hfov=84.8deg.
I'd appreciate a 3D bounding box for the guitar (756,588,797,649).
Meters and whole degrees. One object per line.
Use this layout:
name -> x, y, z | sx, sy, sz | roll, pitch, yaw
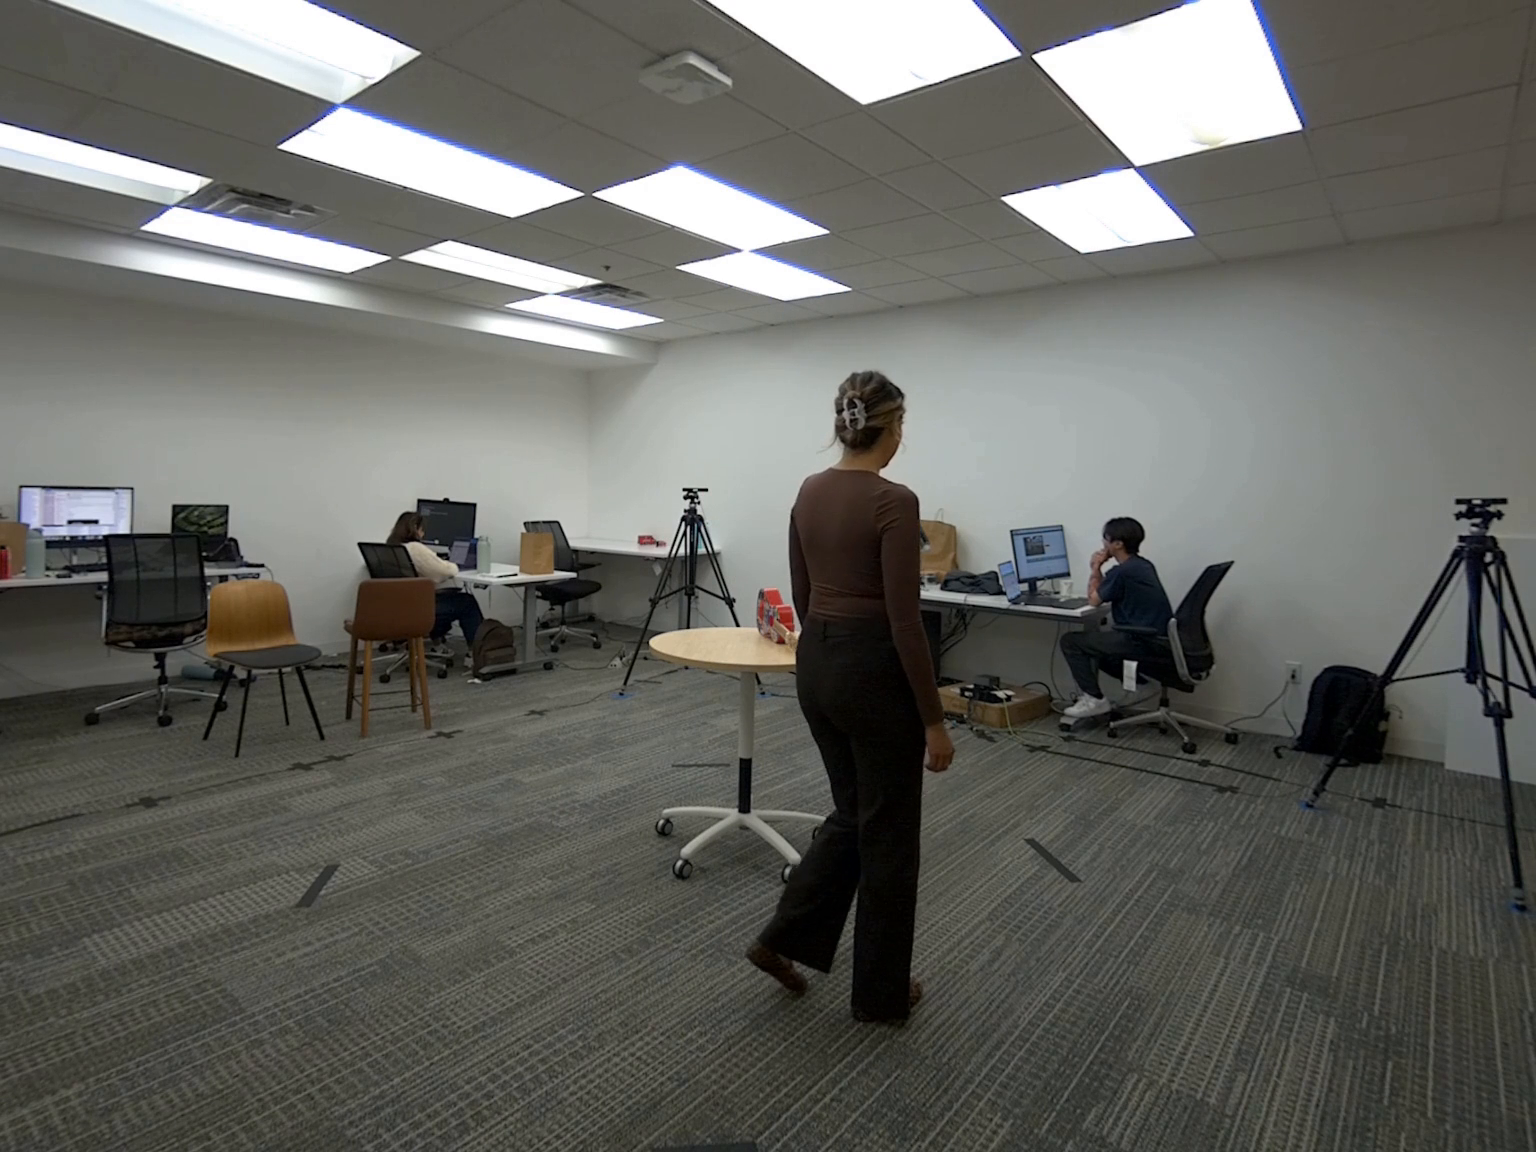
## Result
guitar -> 0.052, 0.215, 3.298 | 0.069, 0.190, 0.516 | -1, 23, -20
